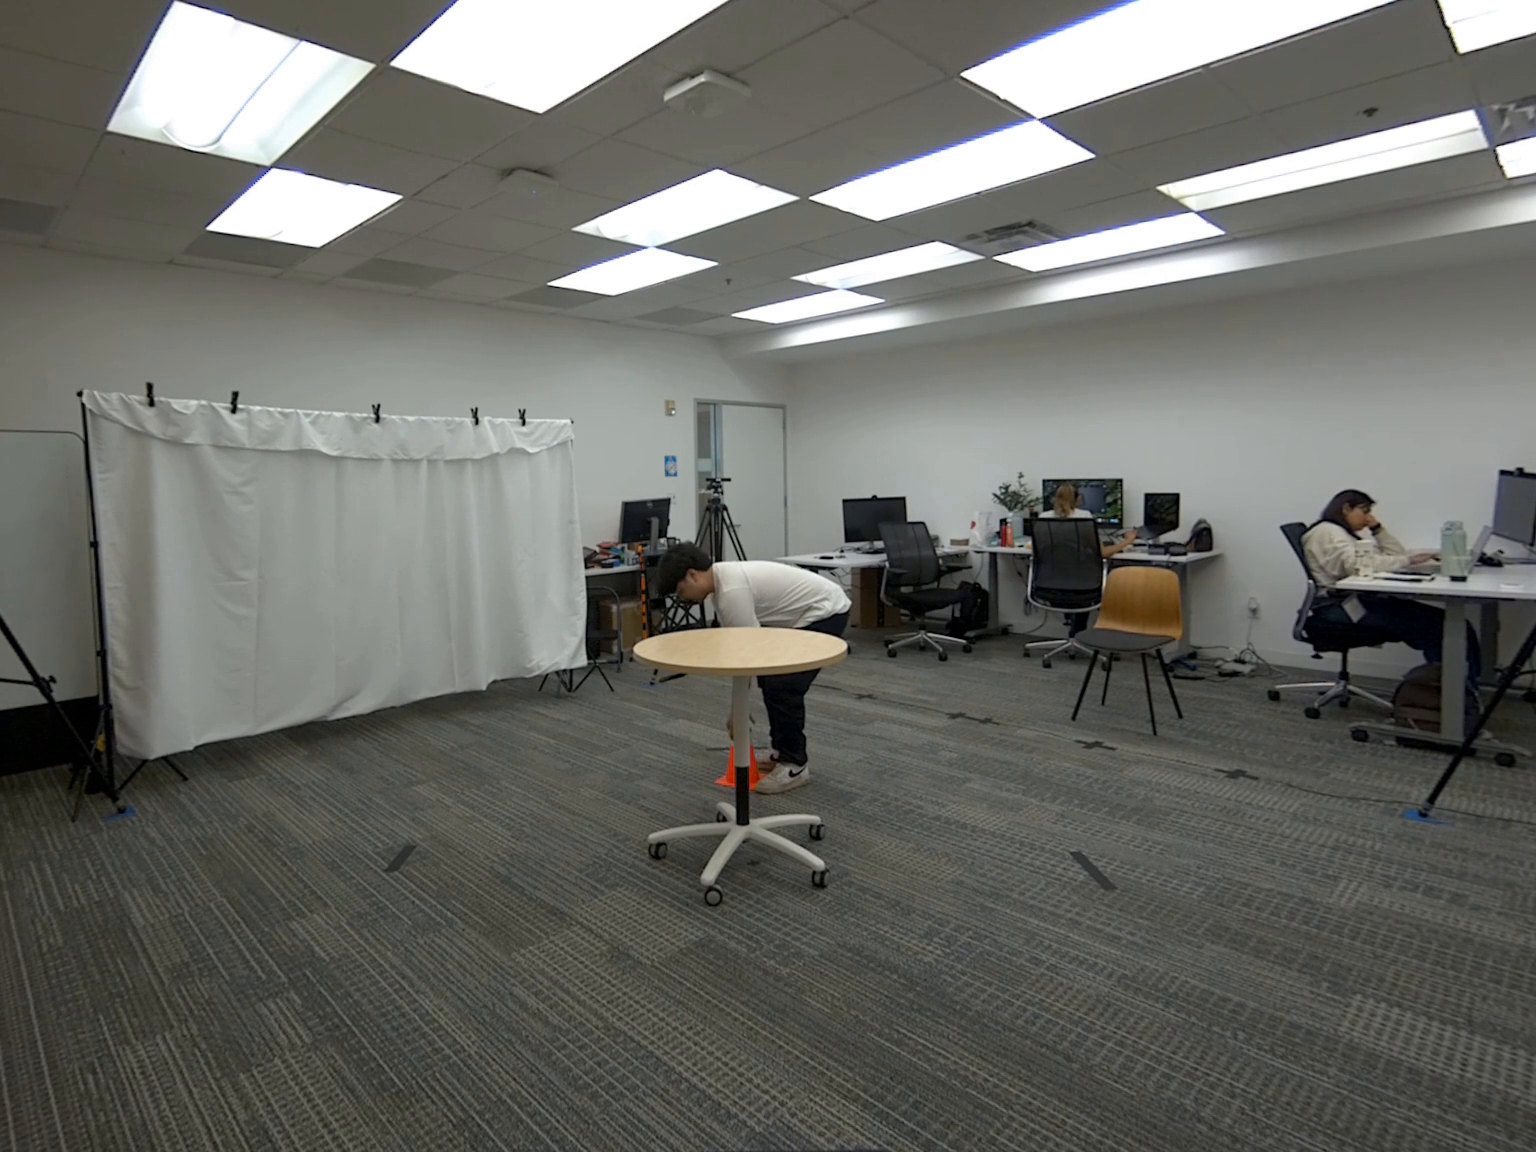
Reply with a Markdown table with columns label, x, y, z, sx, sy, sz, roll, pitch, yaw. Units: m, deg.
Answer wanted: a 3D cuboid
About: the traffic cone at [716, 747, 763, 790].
| label | x | y | z | sx | sy | sz | roll | pitch | yaw |
| --- | --- | --- | --- | --- | --- | --- | --- | --- | --- |
| traffic cone | -0.119 | 0.765 | 3.977 | 0.209 | 0.383 | 0.200 | 1 | 3 | 37 |
